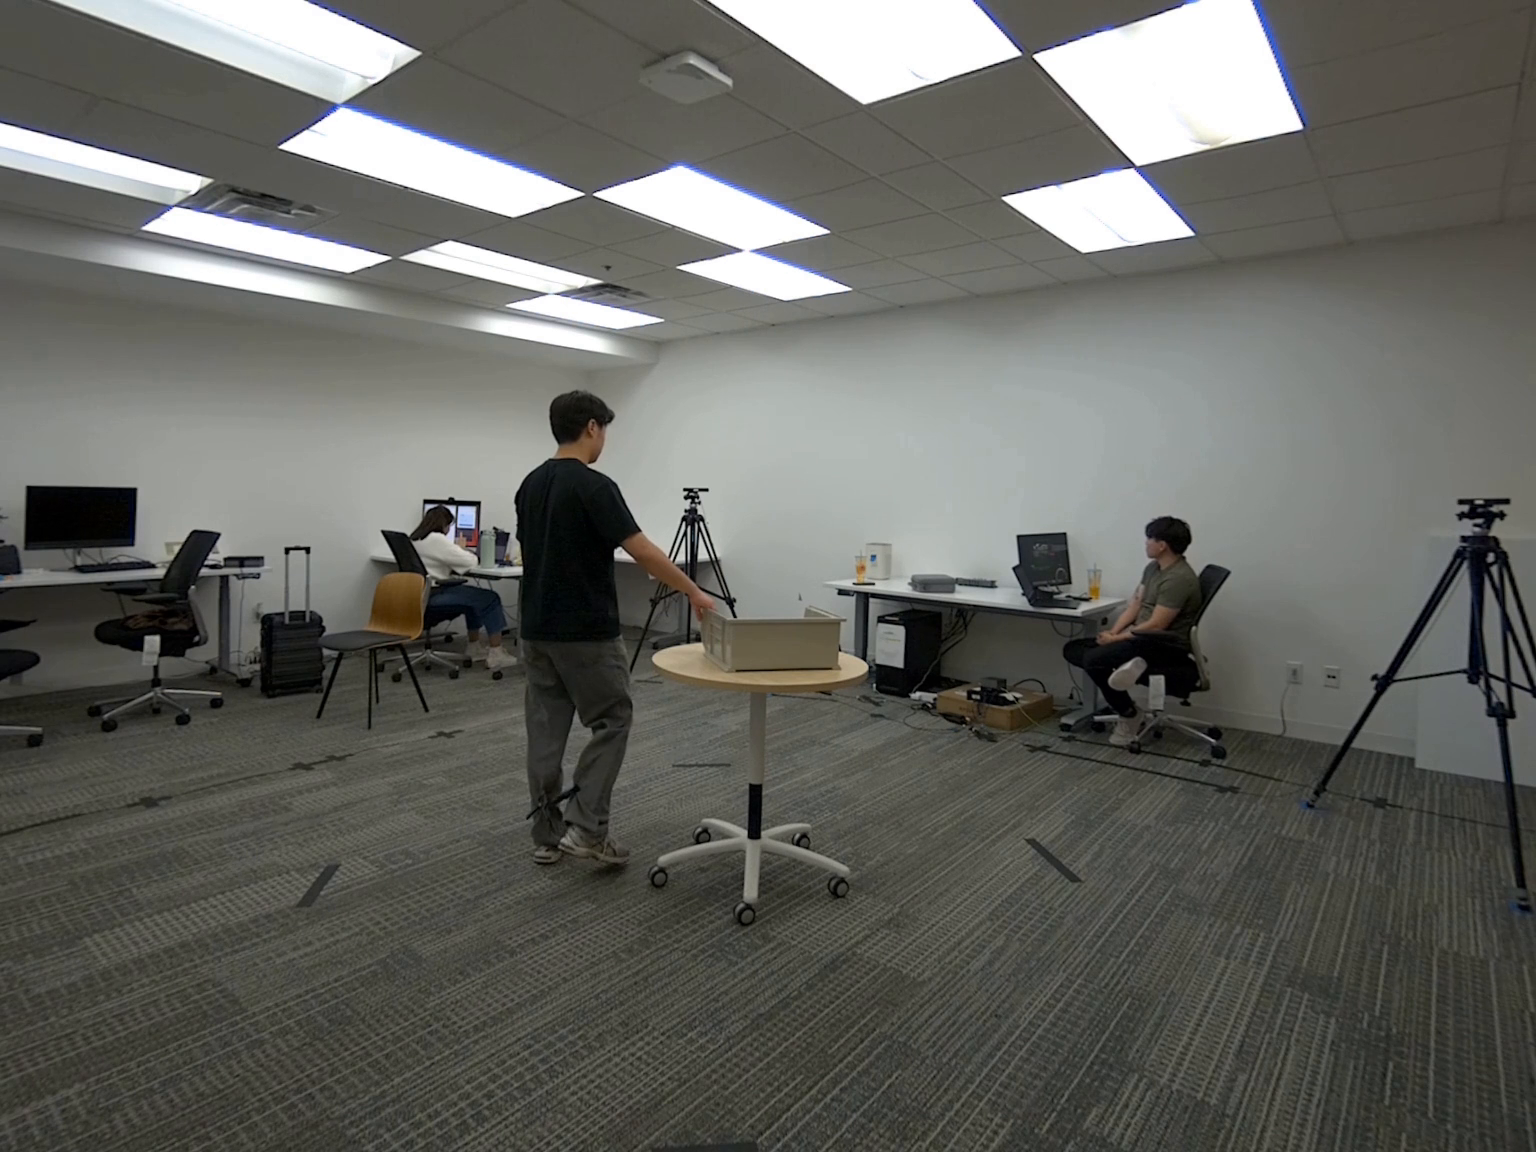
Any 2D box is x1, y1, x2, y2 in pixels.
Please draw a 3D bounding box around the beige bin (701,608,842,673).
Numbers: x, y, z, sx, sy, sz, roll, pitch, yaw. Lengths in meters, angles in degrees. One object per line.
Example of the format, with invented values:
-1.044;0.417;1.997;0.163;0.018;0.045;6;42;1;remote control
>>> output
-0.002;0.205;3.021;0.416;0.188;0.385;1;6;-16;beige bin
